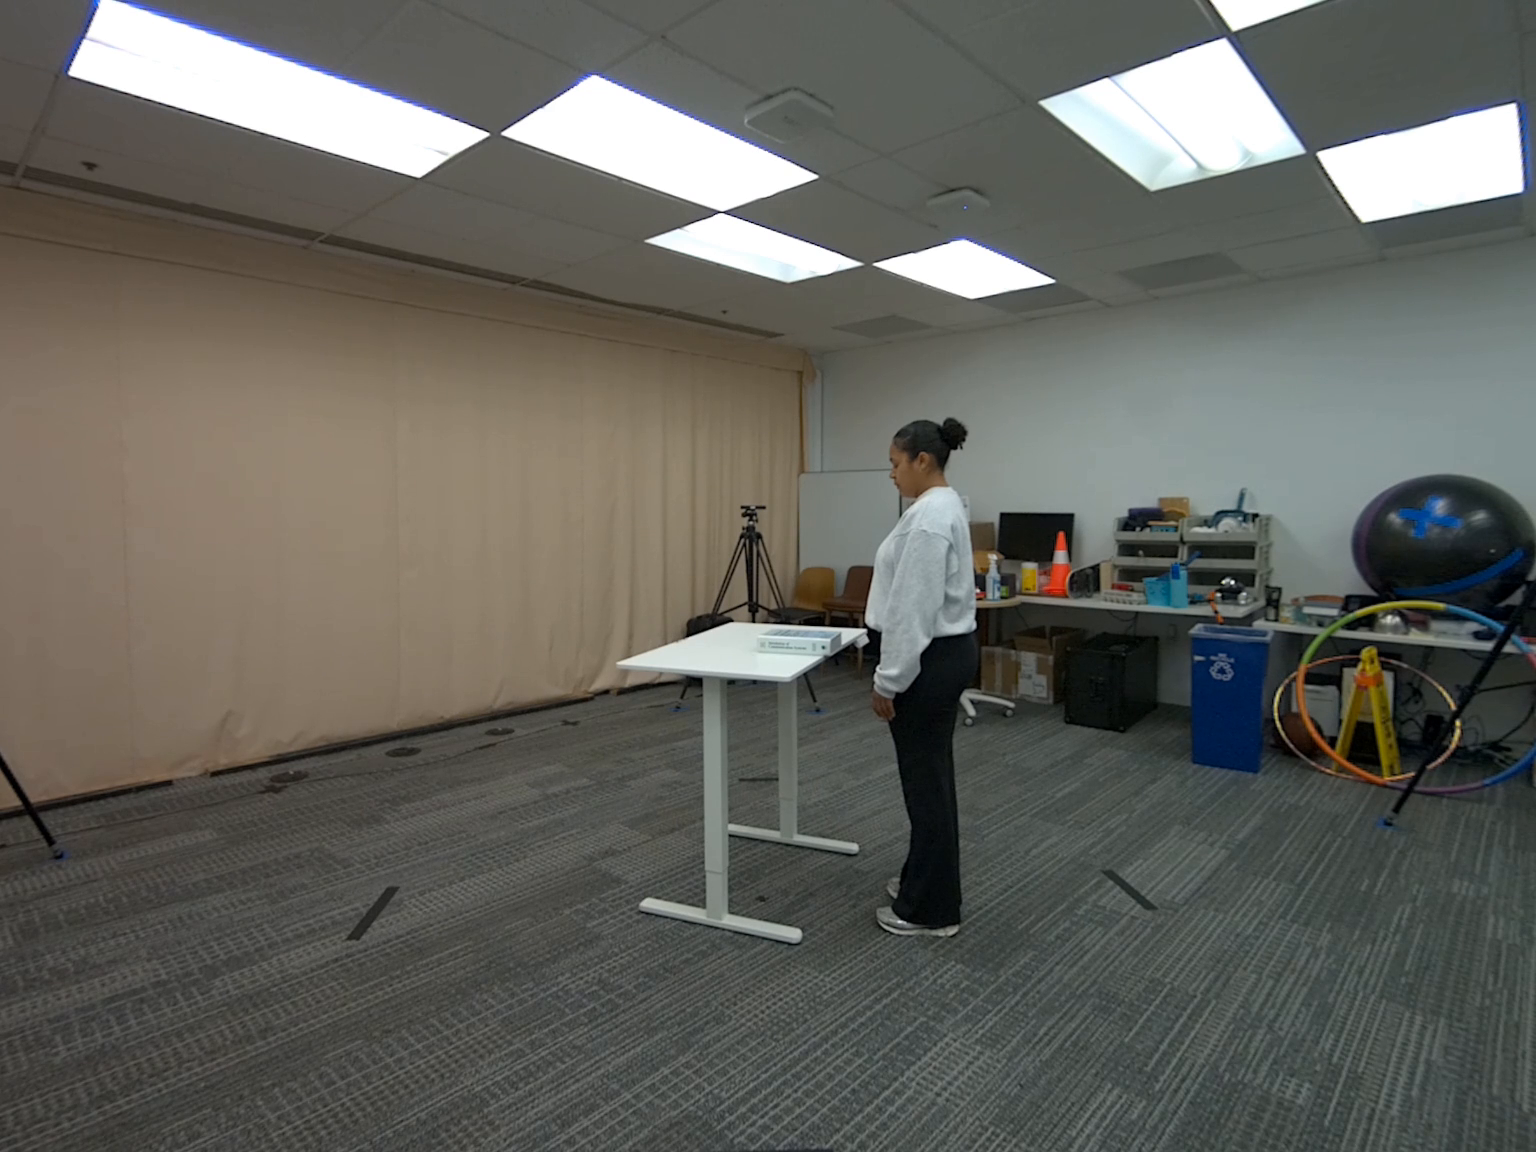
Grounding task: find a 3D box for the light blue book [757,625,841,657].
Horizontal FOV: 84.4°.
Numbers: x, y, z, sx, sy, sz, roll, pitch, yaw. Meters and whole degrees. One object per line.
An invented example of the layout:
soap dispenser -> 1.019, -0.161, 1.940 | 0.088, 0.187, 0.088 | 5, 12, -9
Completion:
light blue book -> 0.112, 0.230, 2.993 | 0.266, 0.059, 0.188 | 1, 6, 19
